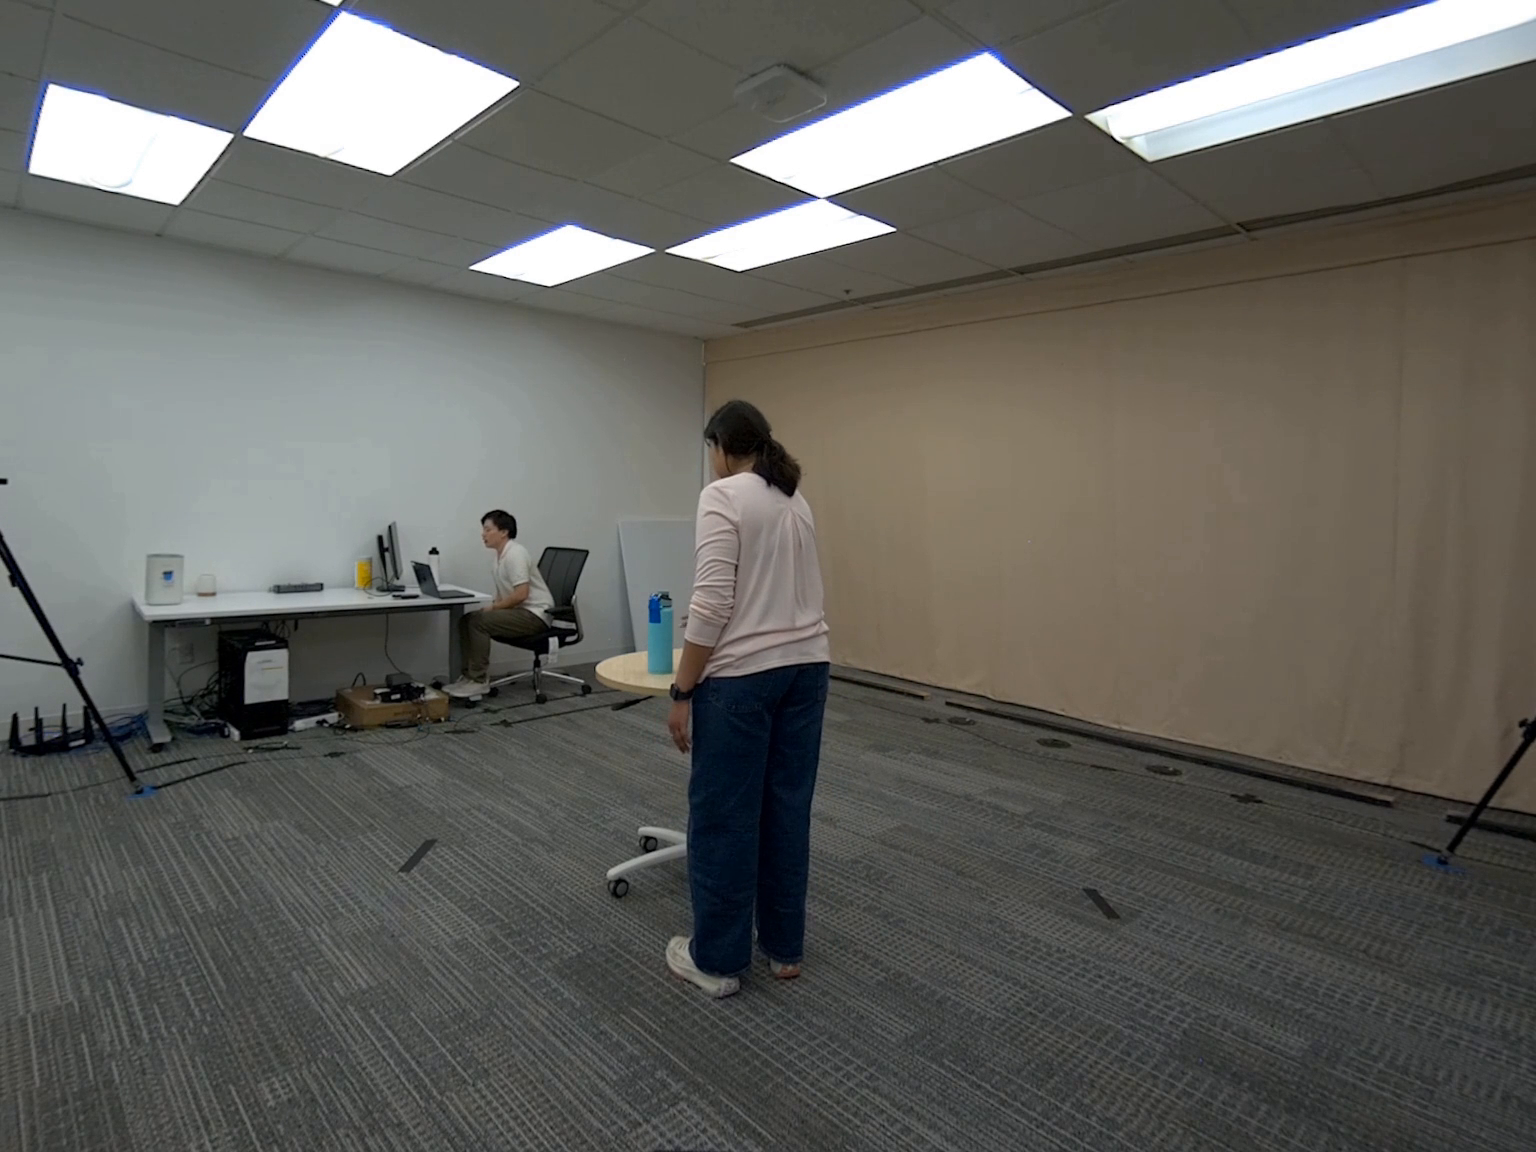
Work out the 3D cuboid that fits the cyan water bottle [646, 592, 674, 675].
[{"bbox_3d":[-0.384,0.196,2.927,0.092,0.283,0.092,2,4,-2],"label":"cyan water bottle"}]
